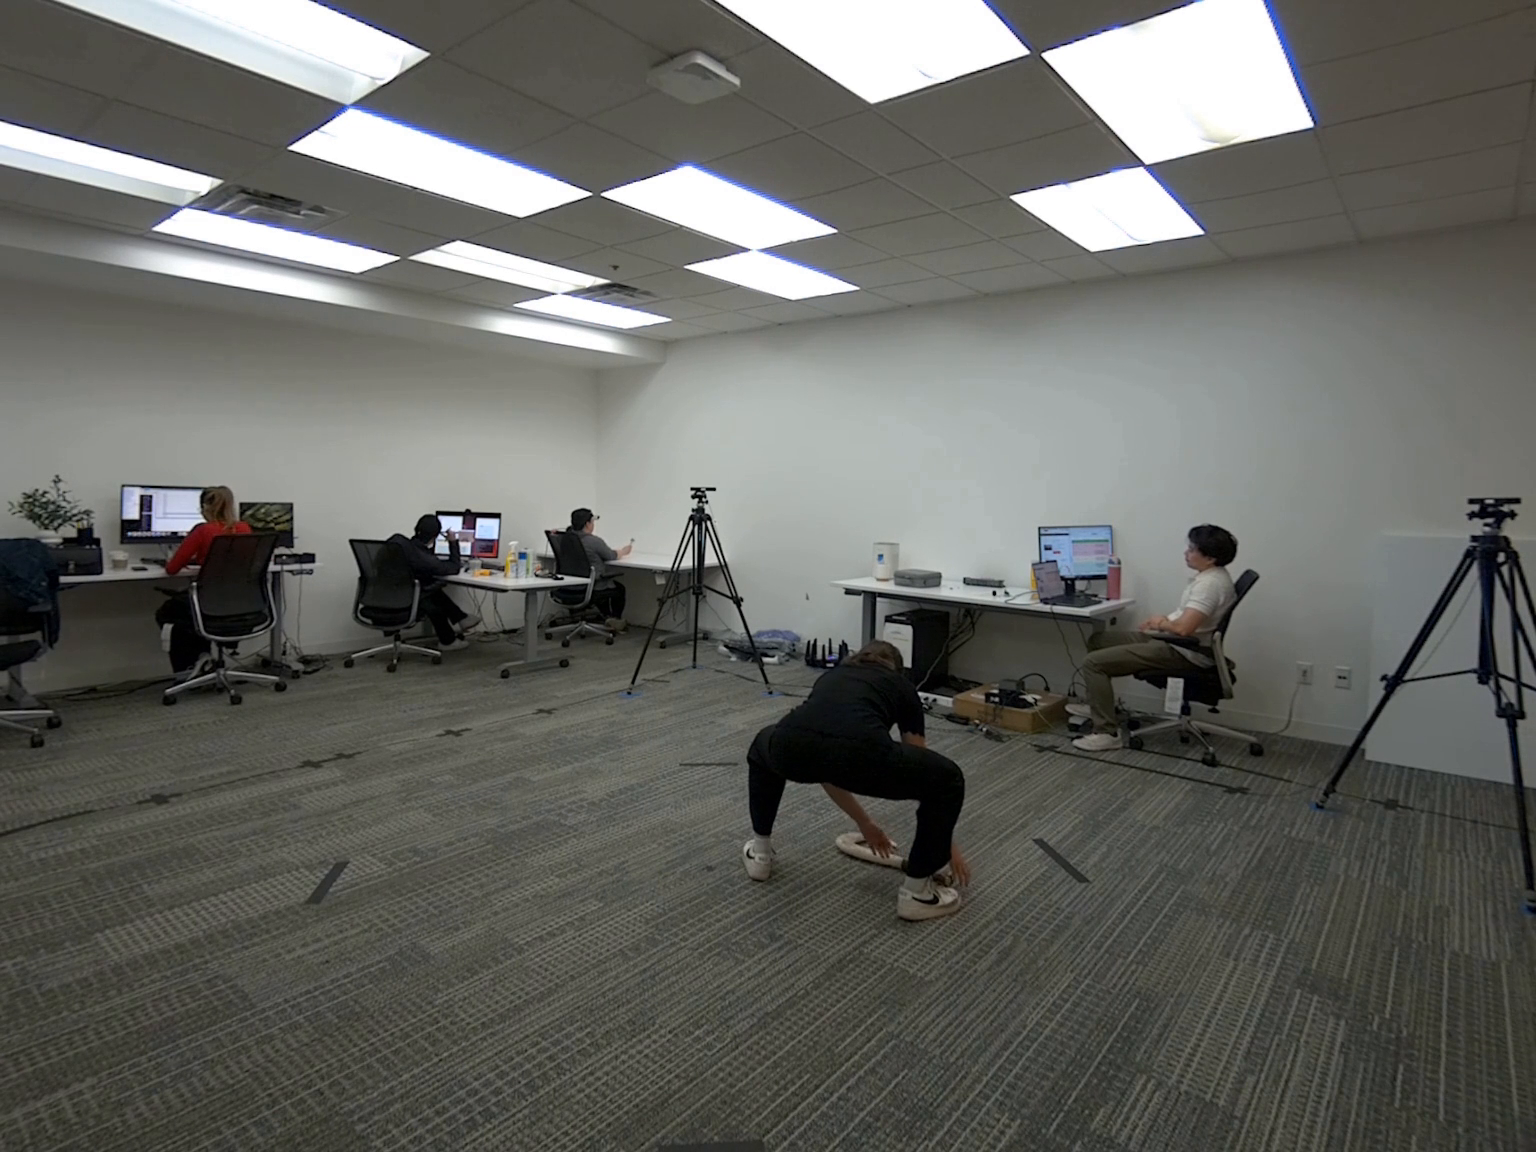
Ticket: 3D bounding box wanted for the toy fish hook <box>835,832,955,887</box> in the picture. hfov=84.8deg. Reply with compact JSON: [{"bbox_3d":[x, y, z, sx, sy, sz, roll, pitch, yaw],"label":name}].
[{"bbox_3d":[0.483,1.052,3.208,0.524,0.048,0.218,7,10,42],"label":"toy fish hook"}]
